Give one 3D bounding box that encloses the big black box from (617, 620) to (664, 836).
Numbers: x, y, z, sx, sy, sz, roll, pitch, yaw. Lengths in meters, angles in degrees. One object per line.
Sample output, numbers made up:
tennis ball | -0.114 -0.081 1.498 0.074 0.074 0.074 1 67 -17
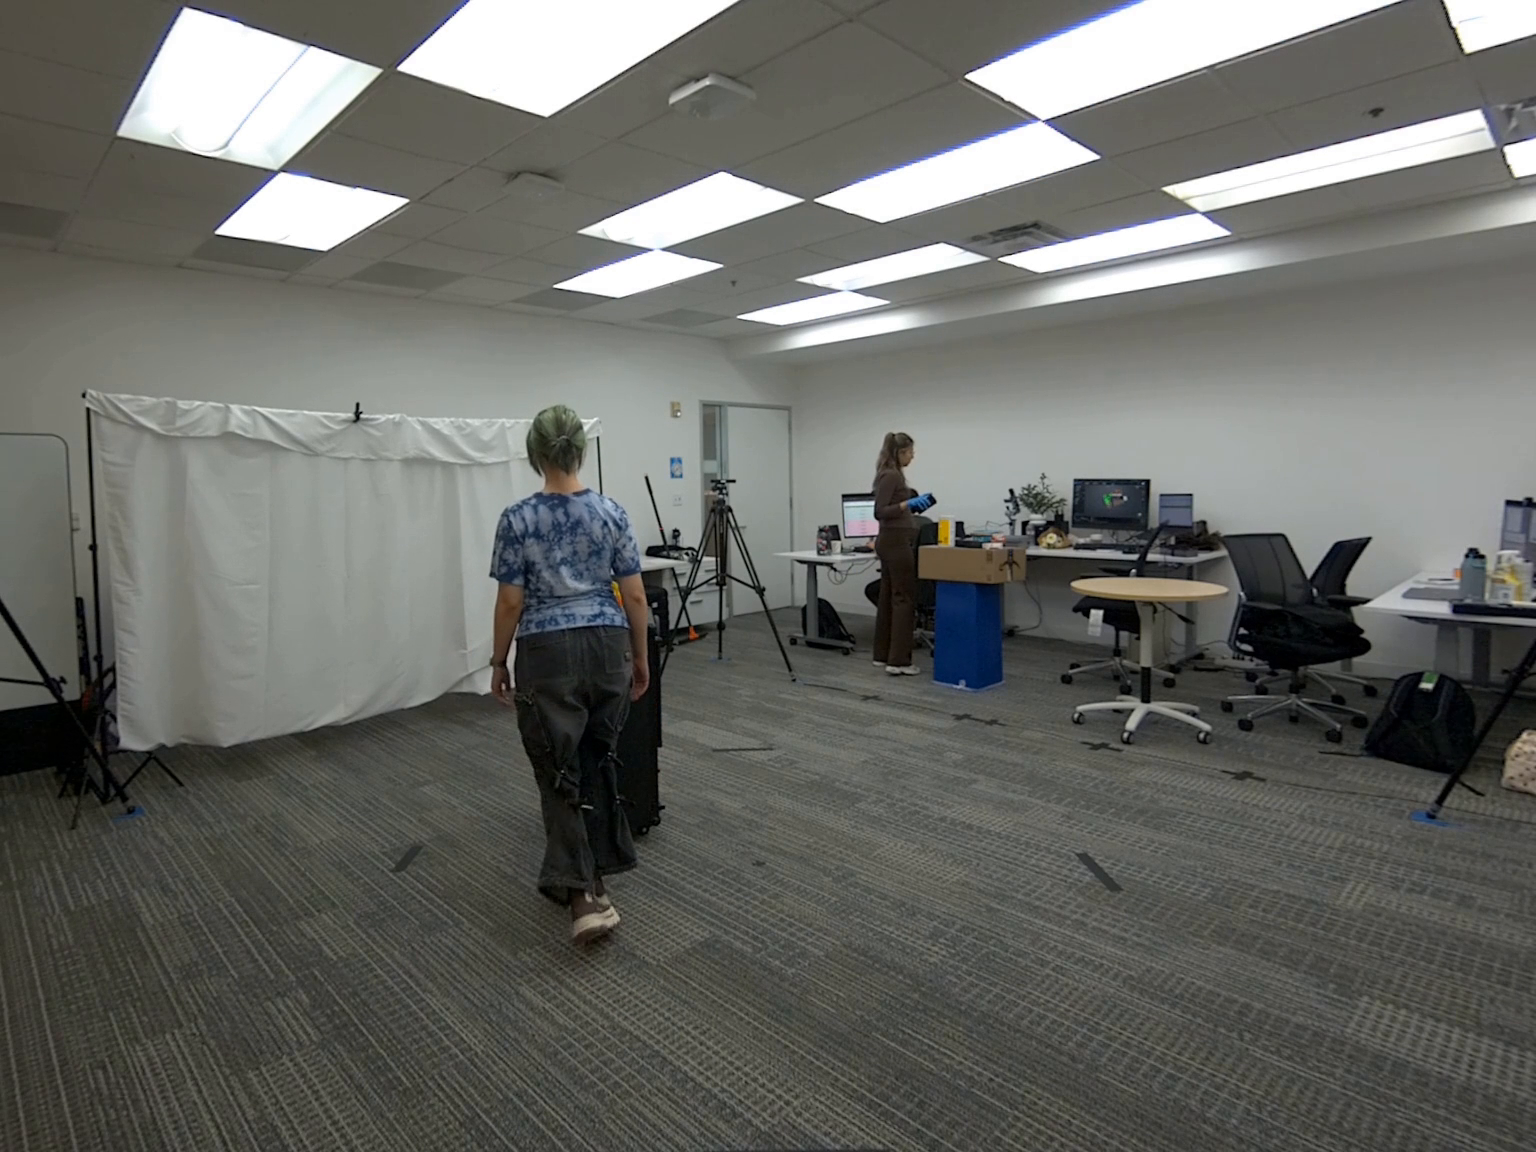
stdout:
big black box | -0.630 0.596 3.495 0.393 0.859 0.526 -1 3 -8
